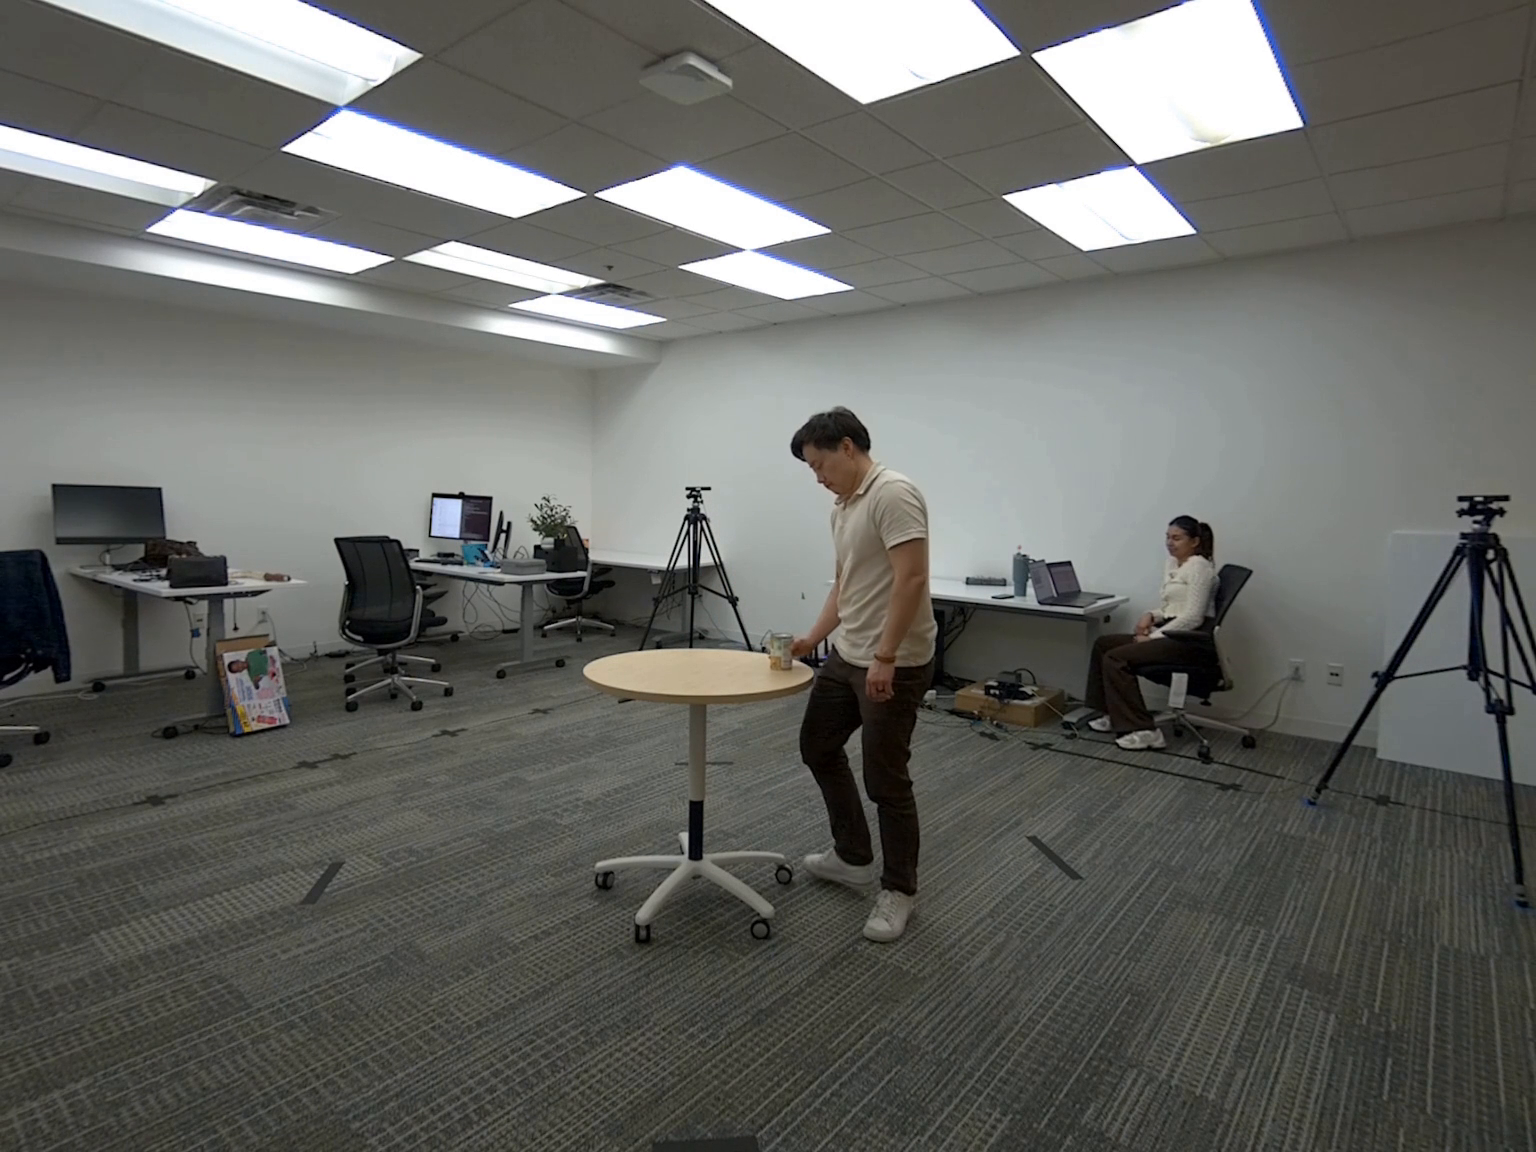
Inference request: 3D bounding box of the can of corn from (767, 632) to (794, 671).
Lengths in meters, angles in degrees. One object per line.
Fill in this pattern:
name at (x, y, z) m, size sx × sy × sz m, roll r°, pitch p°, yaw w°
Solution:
can of corn at (0.039, 0.253, 2.873) m, size 0.074 × 0.110 × 0.075 m, roll 3°, pitch 5°, yaw -2°
